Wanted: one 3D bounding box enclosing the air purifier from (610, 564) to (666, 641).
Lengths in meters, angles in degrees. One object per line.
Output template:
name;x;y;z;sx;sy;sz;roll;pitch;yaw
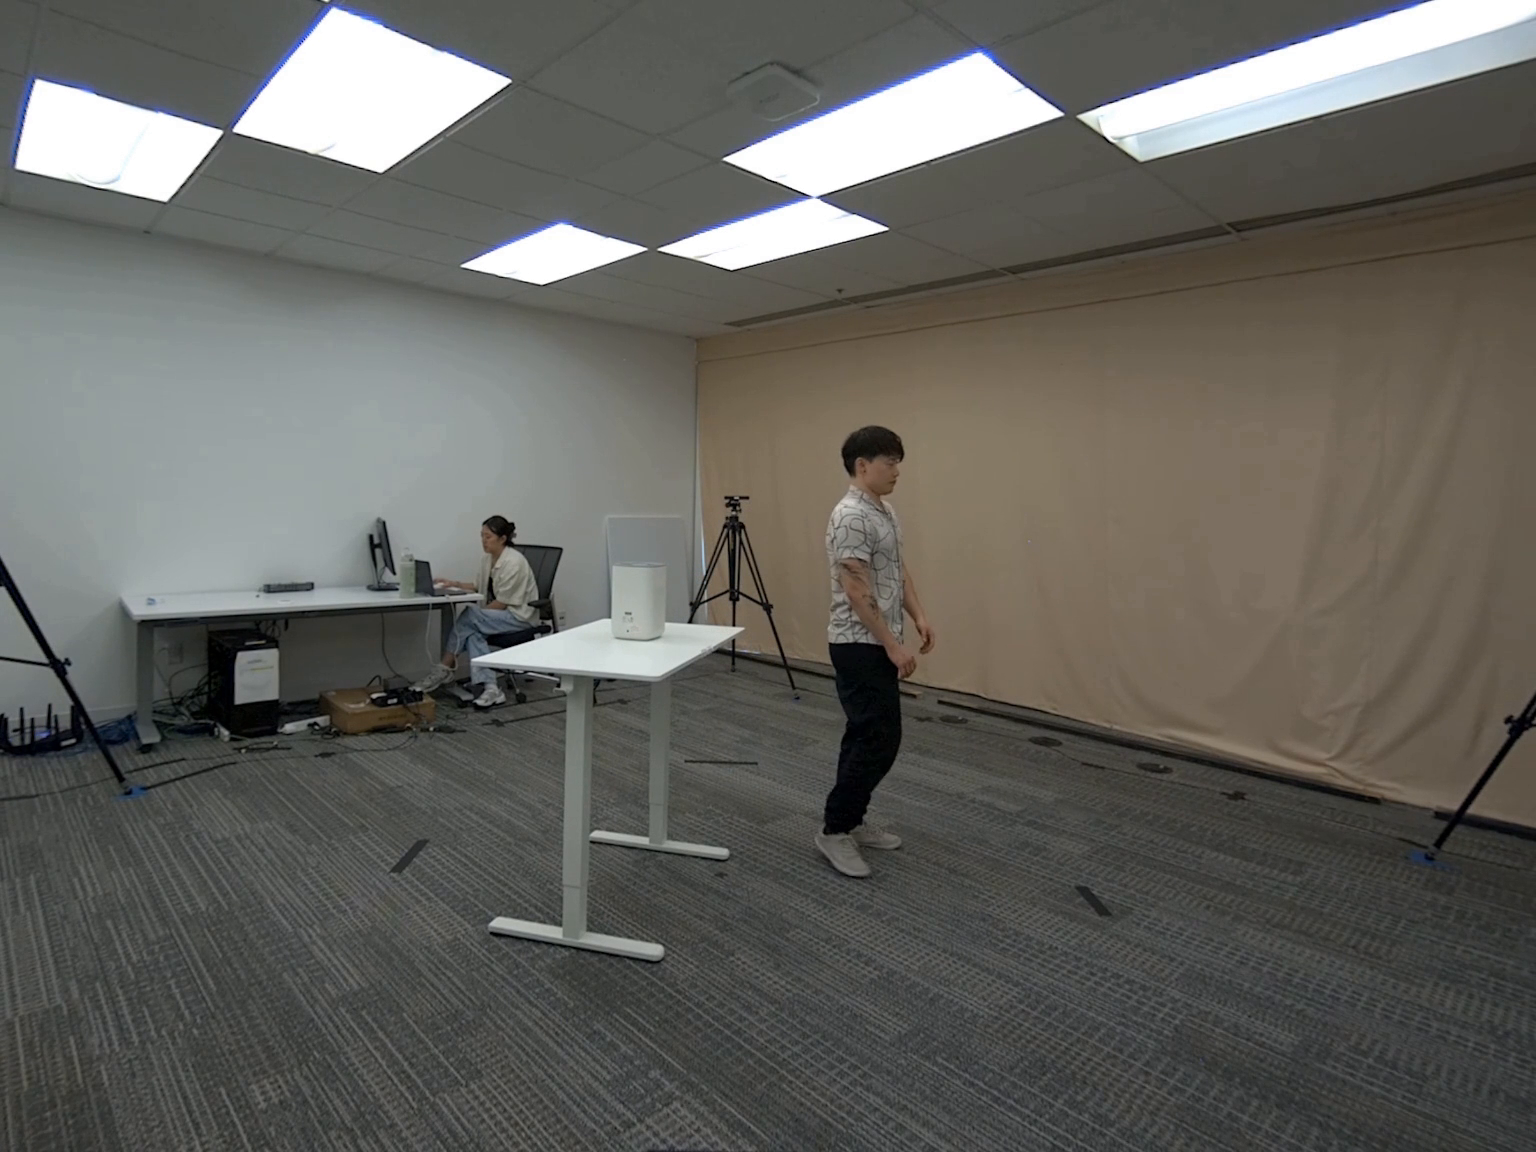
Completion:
air purifier;-0.476;0.092;3.022;0.173;0.265;0.170;3;3;14
